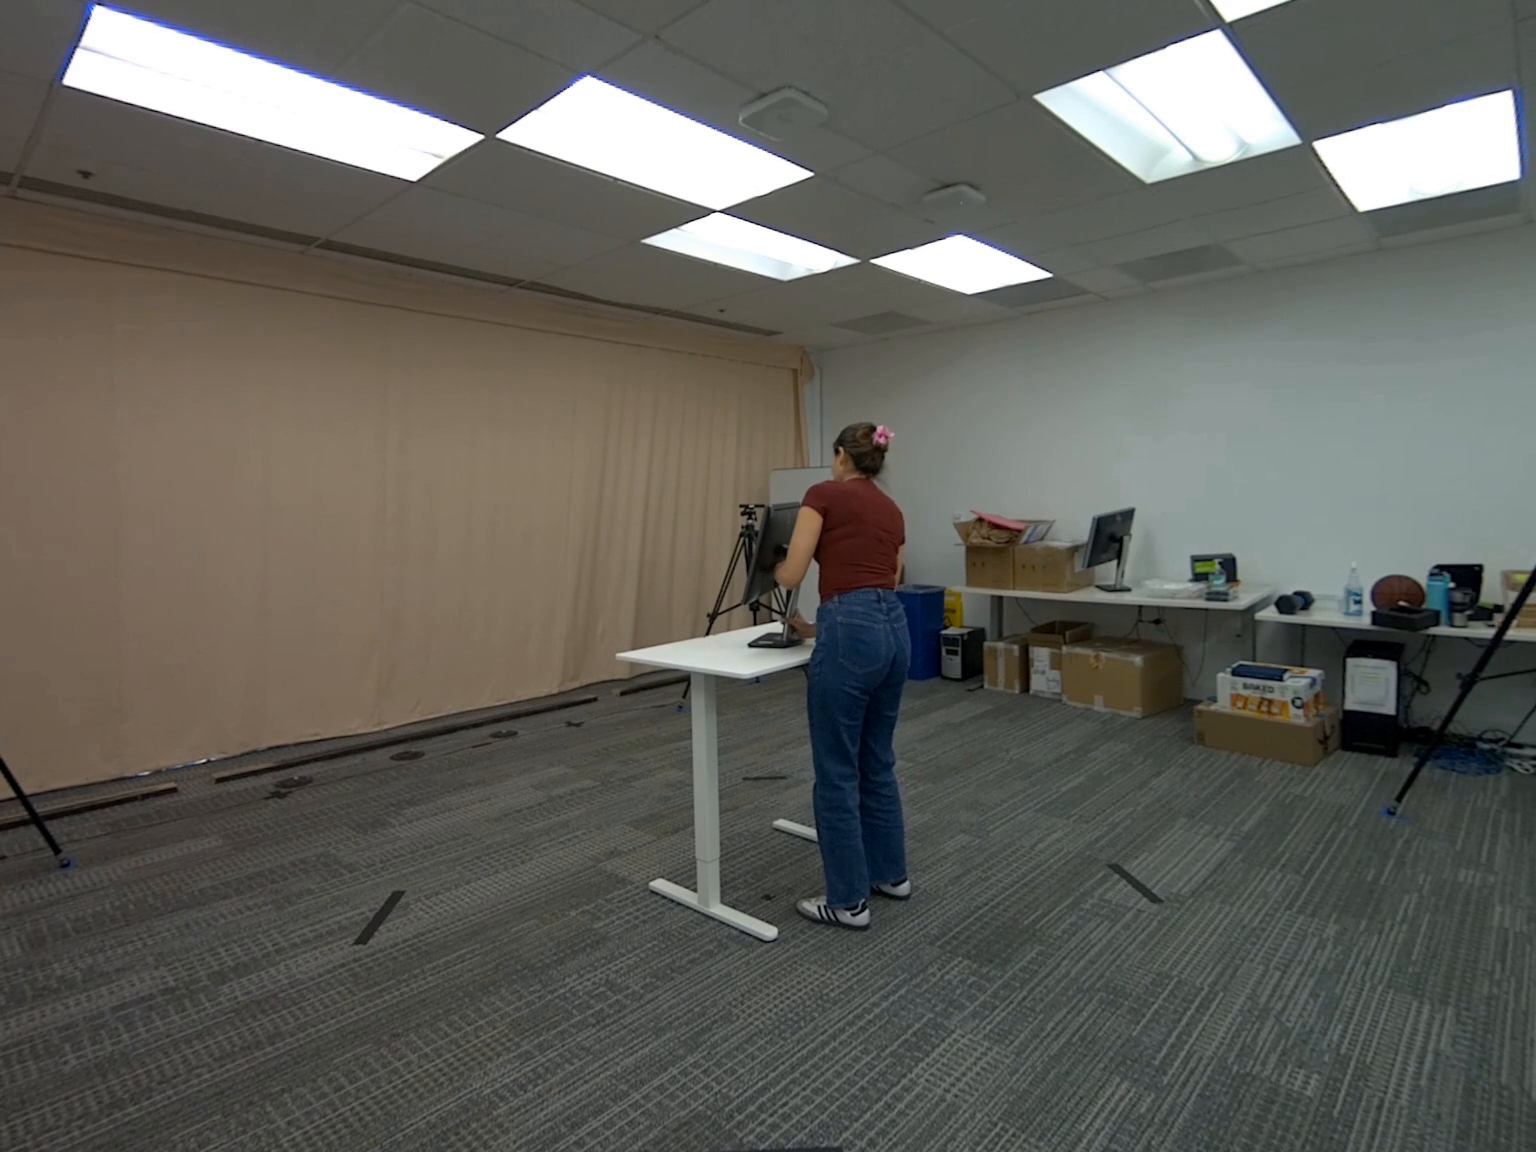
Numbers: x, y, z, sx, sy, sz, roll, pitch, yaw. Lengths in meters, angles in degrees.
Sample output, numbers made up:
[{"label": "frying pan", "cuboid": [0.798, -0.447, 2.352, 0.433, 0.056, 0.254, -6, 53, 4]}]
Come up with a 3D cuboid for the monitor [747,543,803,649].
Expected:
[{"label": "monitor", "cuboid": [0.049, -0.006, 3.097, 0.190, 0.521, 0.533, 1, 5, 12]}]
